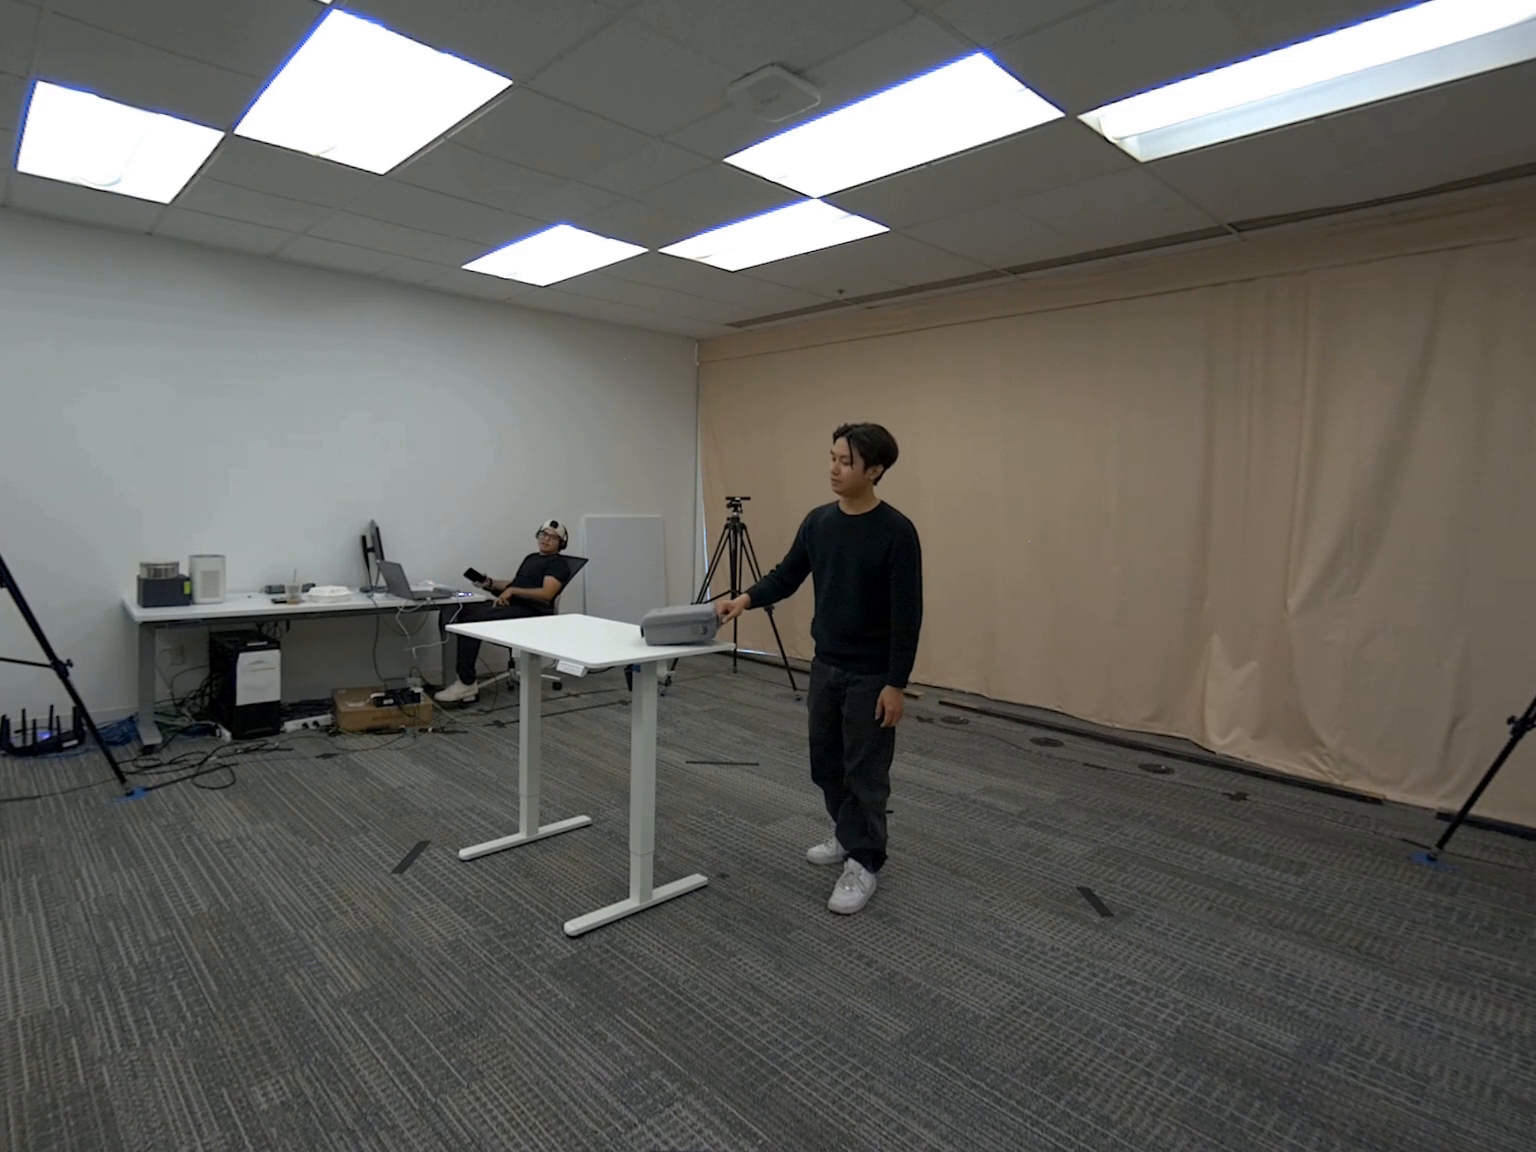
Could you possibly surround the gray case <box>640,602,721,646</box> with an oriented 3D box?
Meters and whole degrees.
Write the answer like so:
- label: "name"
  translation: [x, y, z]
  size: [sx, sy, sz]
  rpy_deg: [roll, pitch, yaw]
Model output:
- label: "gray case"
  translation: [-0.309, 0.164, 2.960]
  size: [0.261, 0.104, 0.257]
  rpy_deg: [-6, 3, 3]
